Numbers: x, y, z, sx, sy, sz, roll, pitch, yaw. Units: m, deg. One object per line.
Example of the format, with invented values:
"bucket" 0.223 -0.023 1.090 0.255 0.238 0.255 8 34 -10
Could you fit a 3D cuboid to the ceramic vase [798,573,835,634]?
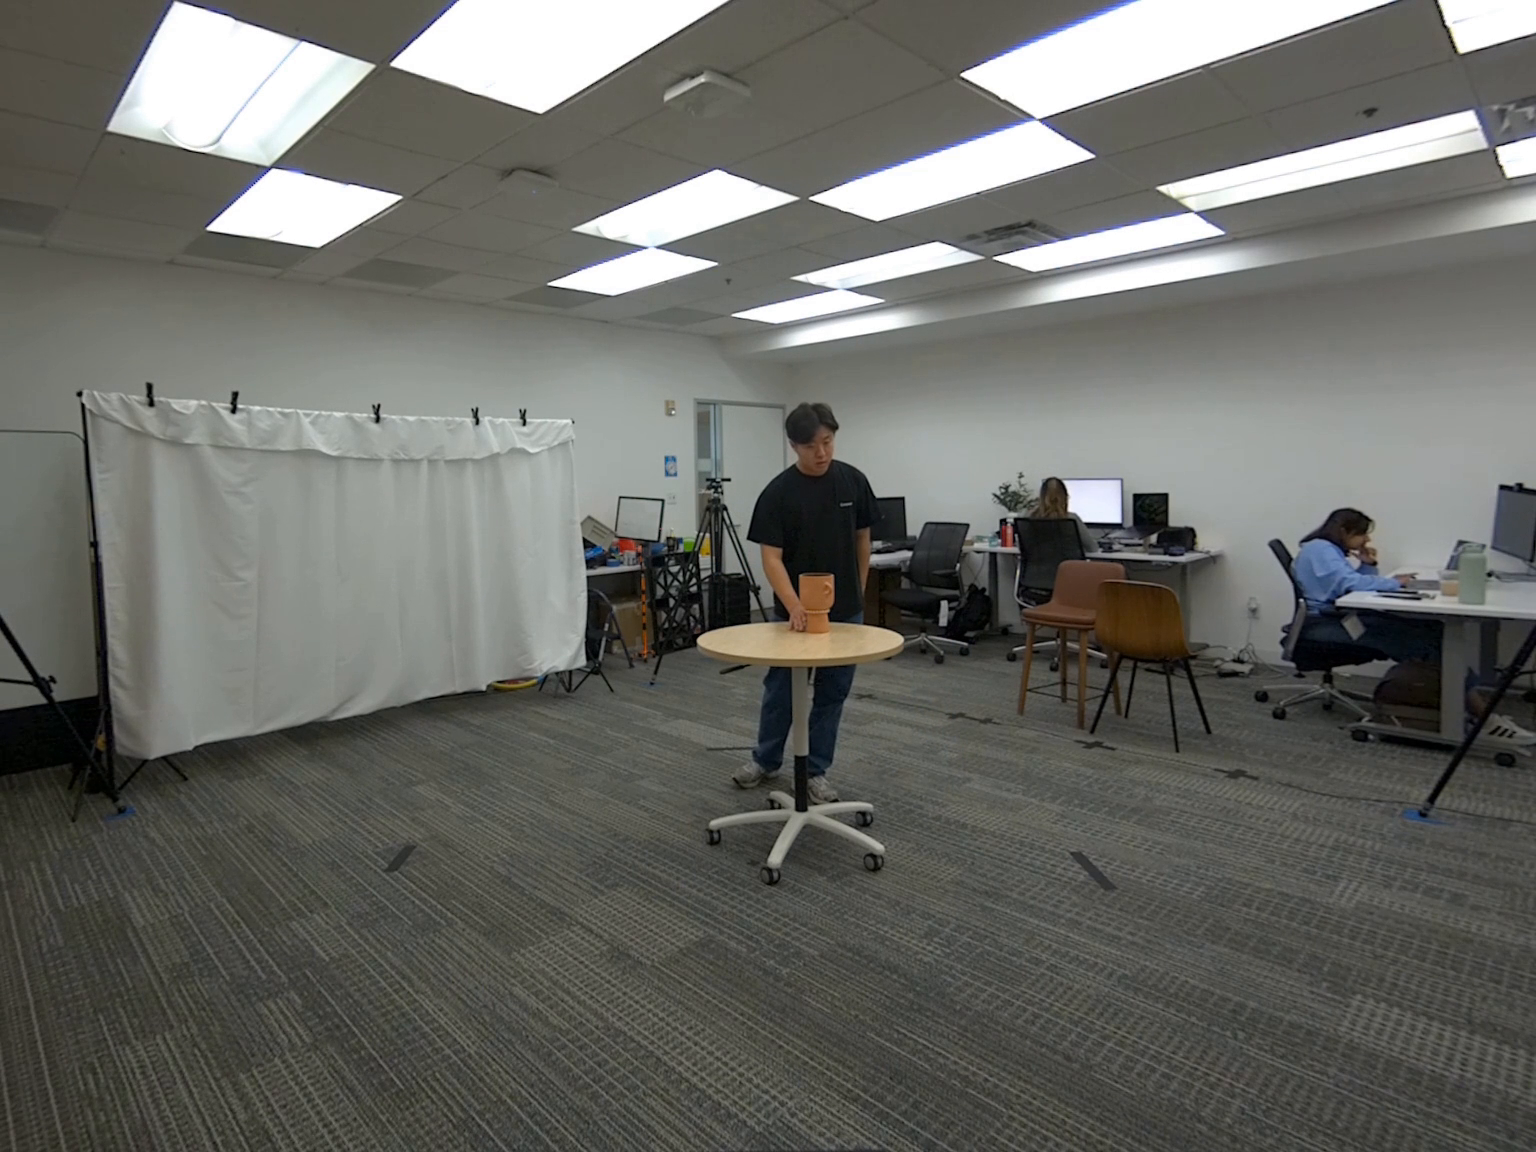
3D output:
"ceramic vase" 0.188 0.109 3.335 0.136 0.219 0.158 -1 4 10
